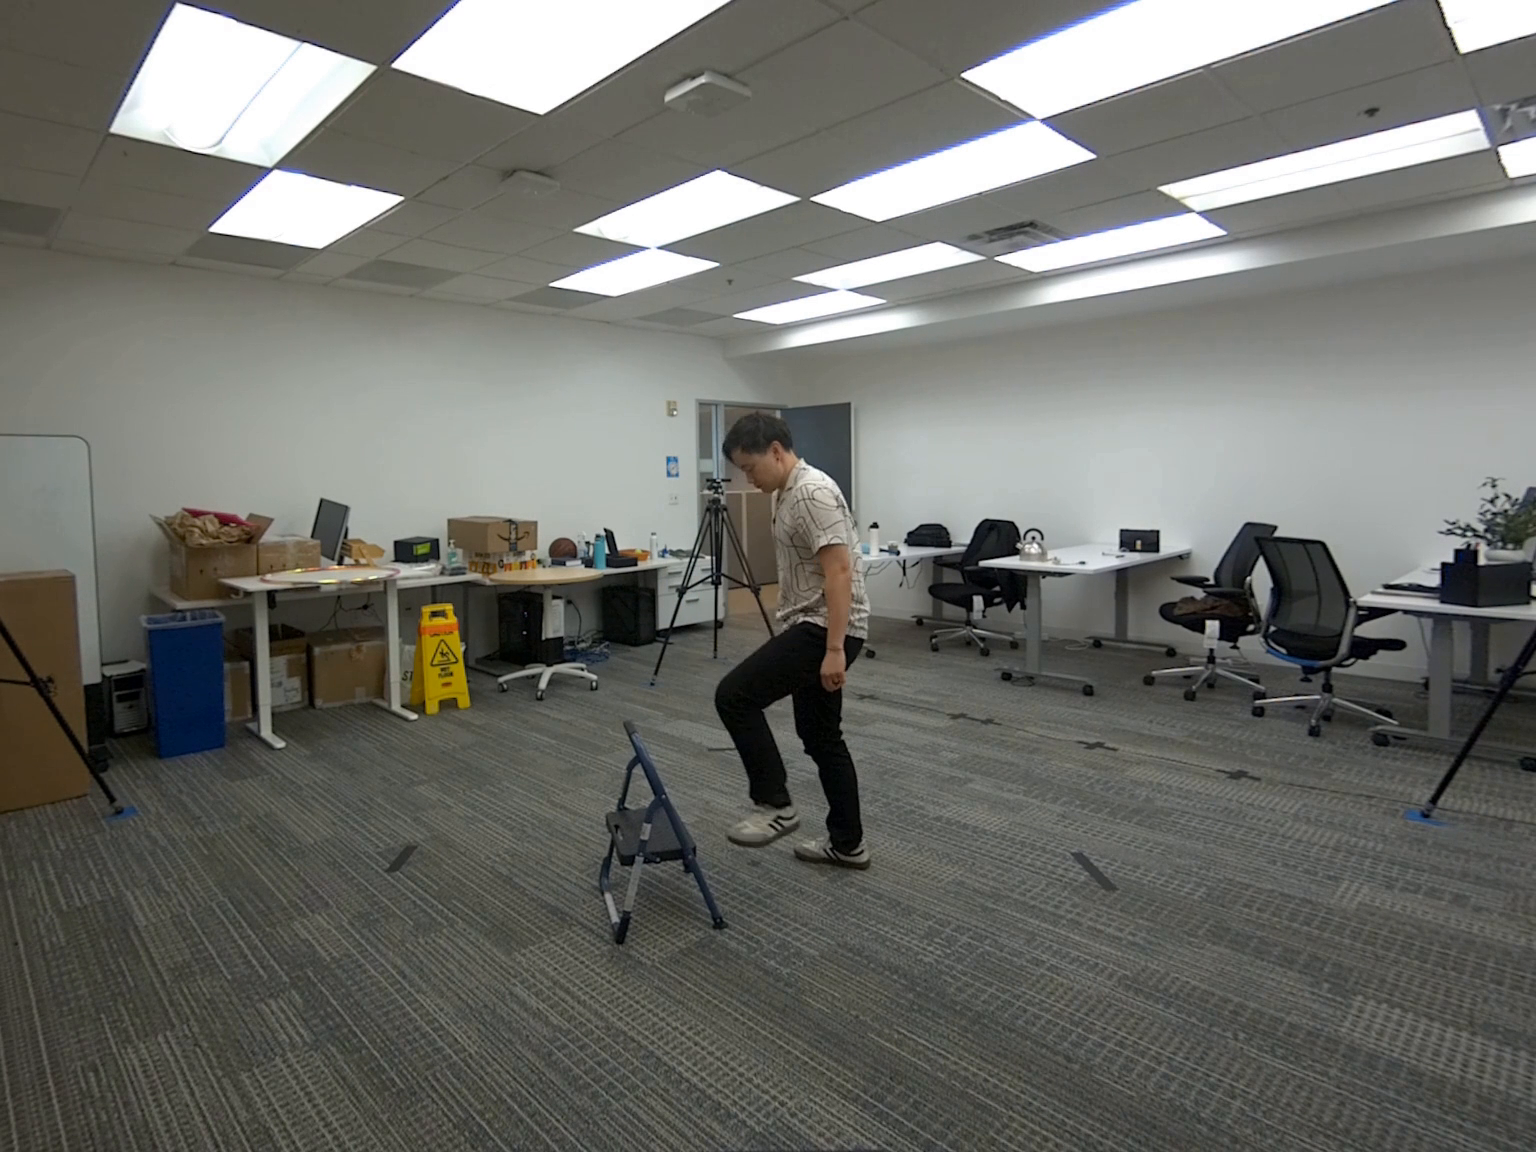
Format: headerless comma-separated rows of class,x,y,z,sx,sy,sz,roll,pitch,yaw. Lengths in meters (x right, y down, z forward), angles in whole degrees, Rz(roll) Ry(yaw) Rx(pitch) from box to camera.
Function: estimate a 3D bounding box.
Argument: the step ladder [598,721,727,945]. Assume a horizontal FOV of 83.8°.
step ladder,-0.362,0.781,2.797,0.344,0.604,0.439,-3,5,-18
